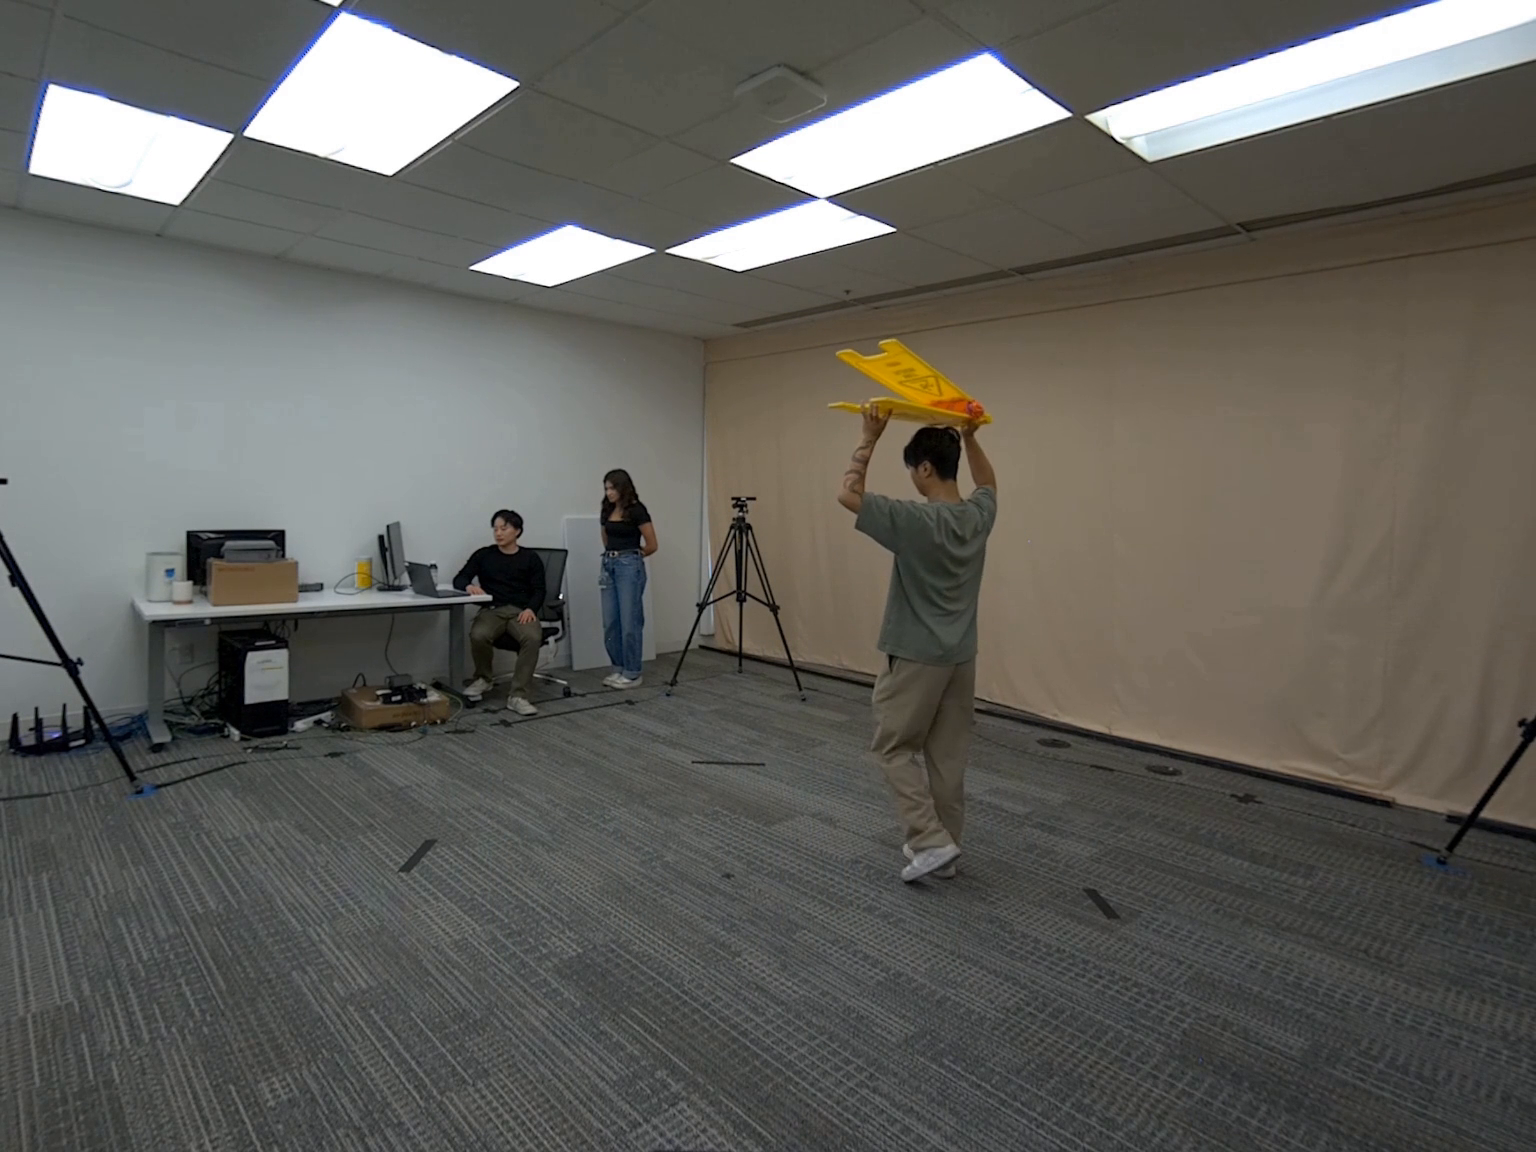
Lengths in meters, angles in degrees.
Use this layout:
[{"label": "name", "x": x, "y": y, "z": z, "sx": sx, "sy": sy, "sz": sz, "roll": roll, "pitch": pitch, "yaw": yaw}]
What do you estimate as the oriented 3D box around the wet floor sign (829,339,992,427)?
[{"label": "wet floor sign", "x": 0.557, "y": -0.652, "z": 3.118, "sx": 0.629, "sy": 0.290, "sz": 0.289, "roll": 9, "pitch": -4, "yaw": -40}]
